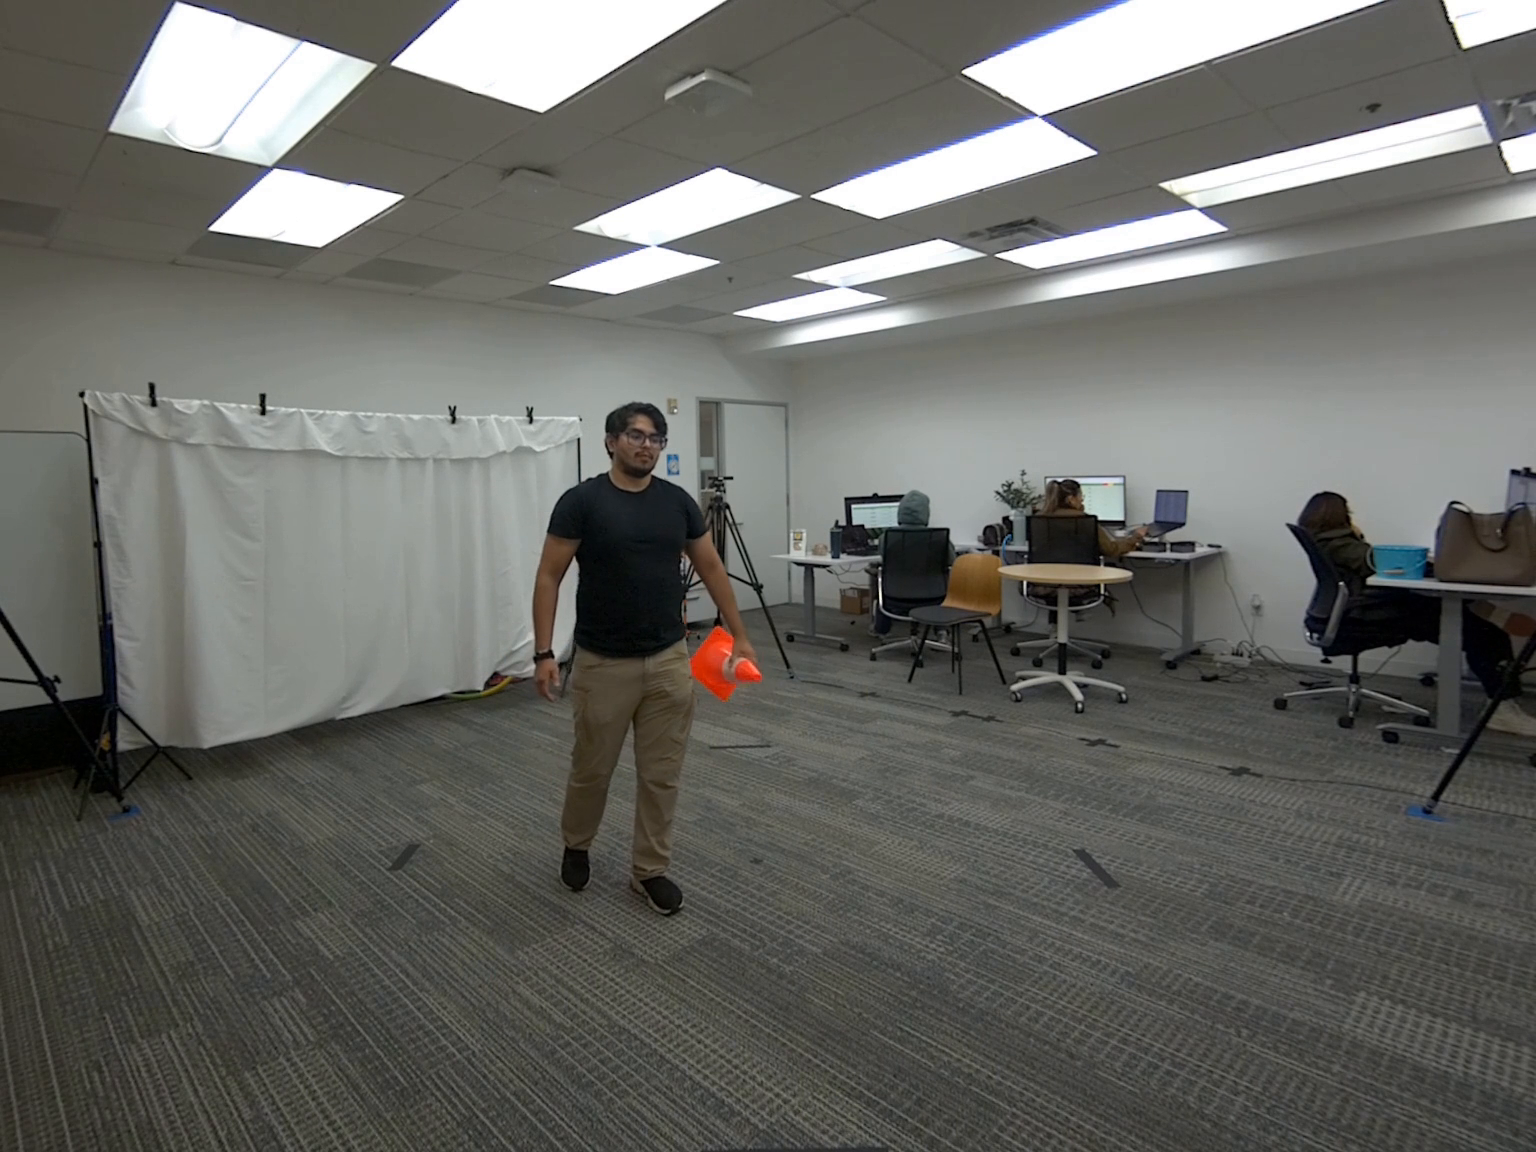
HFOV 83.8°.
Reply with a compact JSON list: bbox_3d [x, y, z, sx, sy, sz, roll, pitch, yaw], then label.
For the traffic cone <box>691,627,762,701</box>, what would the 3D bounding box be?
[{"bbox_3d":[-0.114,0.318,2.897,0.201,0.203,0.390,42,-11,-14],"label":"traffic cone"}]
